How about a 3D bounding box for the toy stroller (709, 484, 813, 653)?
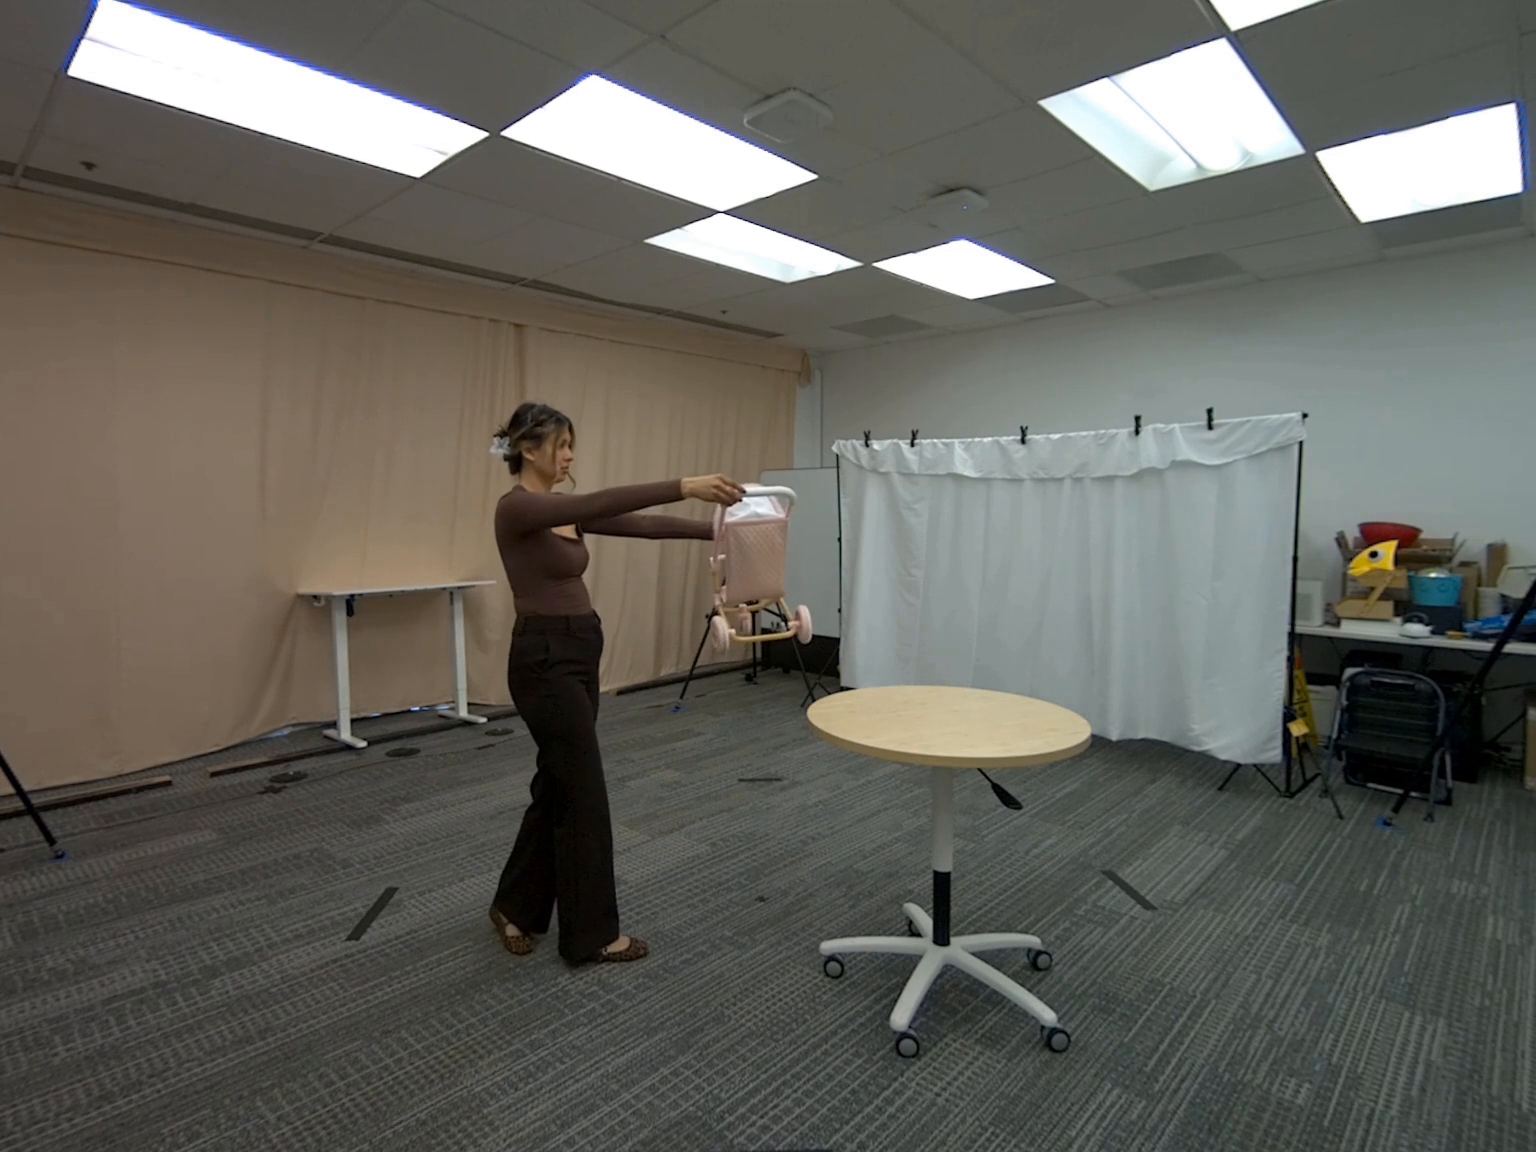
[{"bbox_3d":[-0.049,-0.026,2.452,0.279,0.529,0.348,-5,17,-8],"label":"toy stroller"}]
